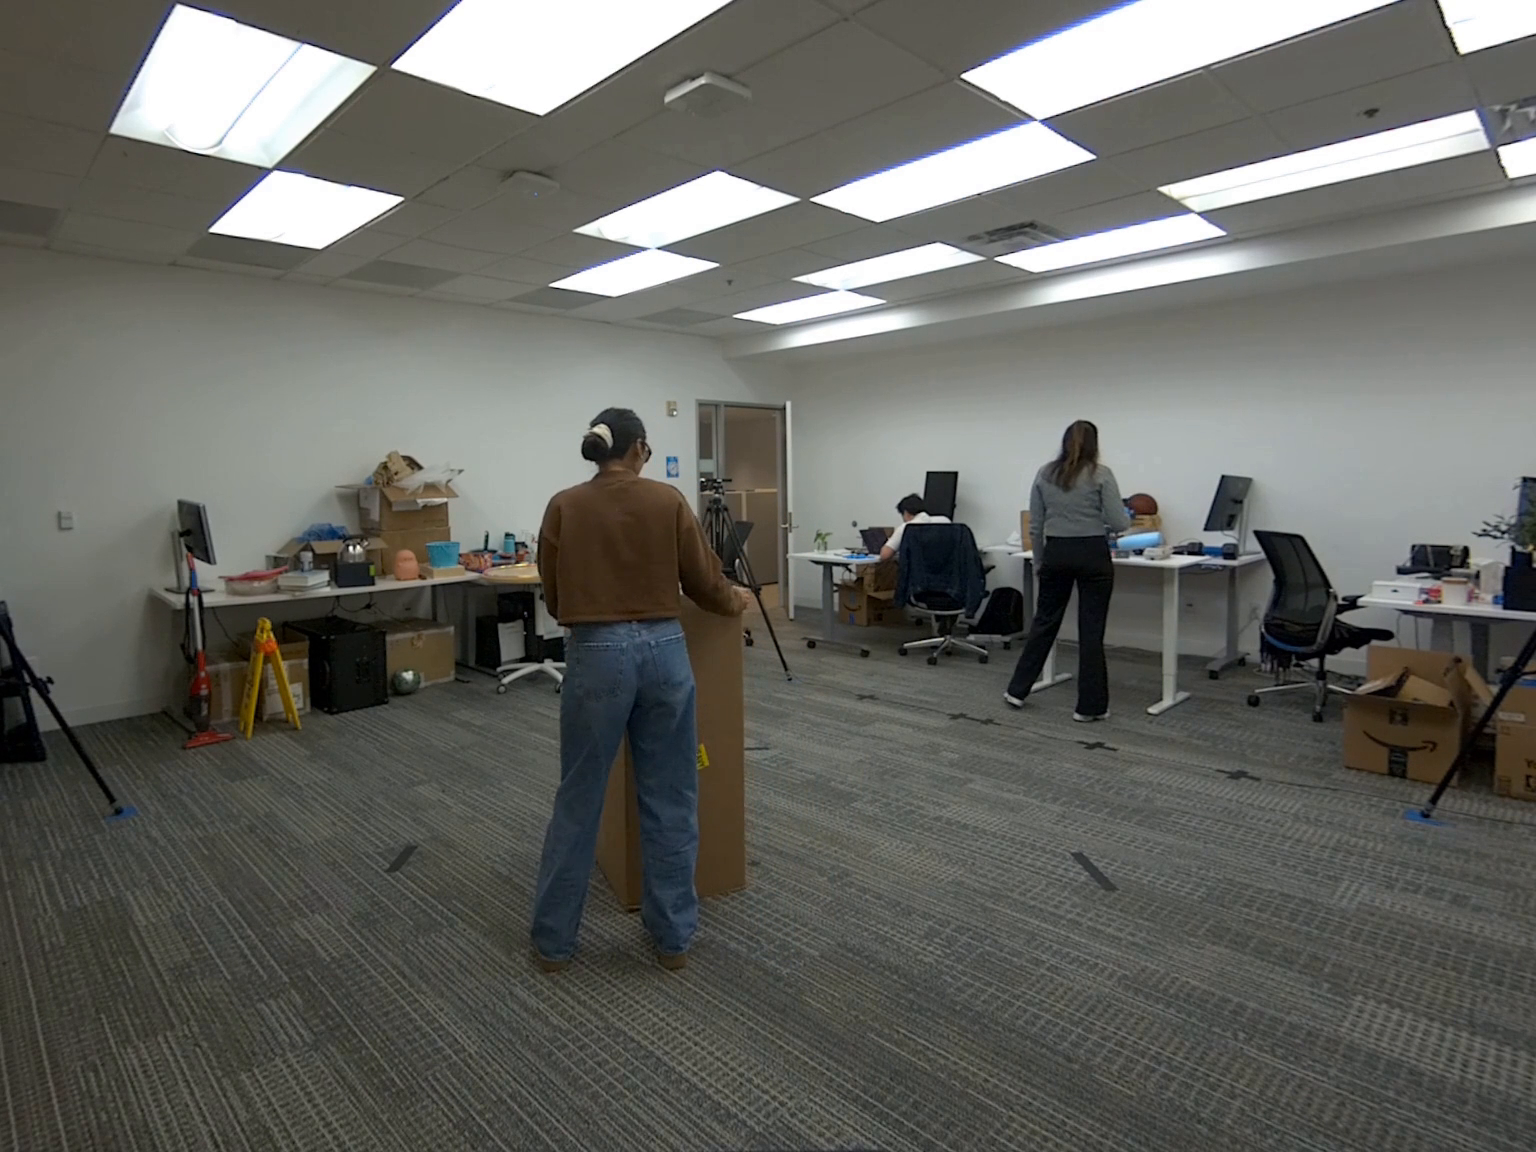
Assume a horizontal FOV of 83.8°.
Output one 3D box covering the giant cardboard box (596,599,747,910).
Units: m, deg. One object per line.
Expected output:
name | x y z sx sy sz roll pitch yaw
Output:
giant cardboard box | -0.381 0.548 3.079 0.418 1.023 0.591 -2 4 -23
